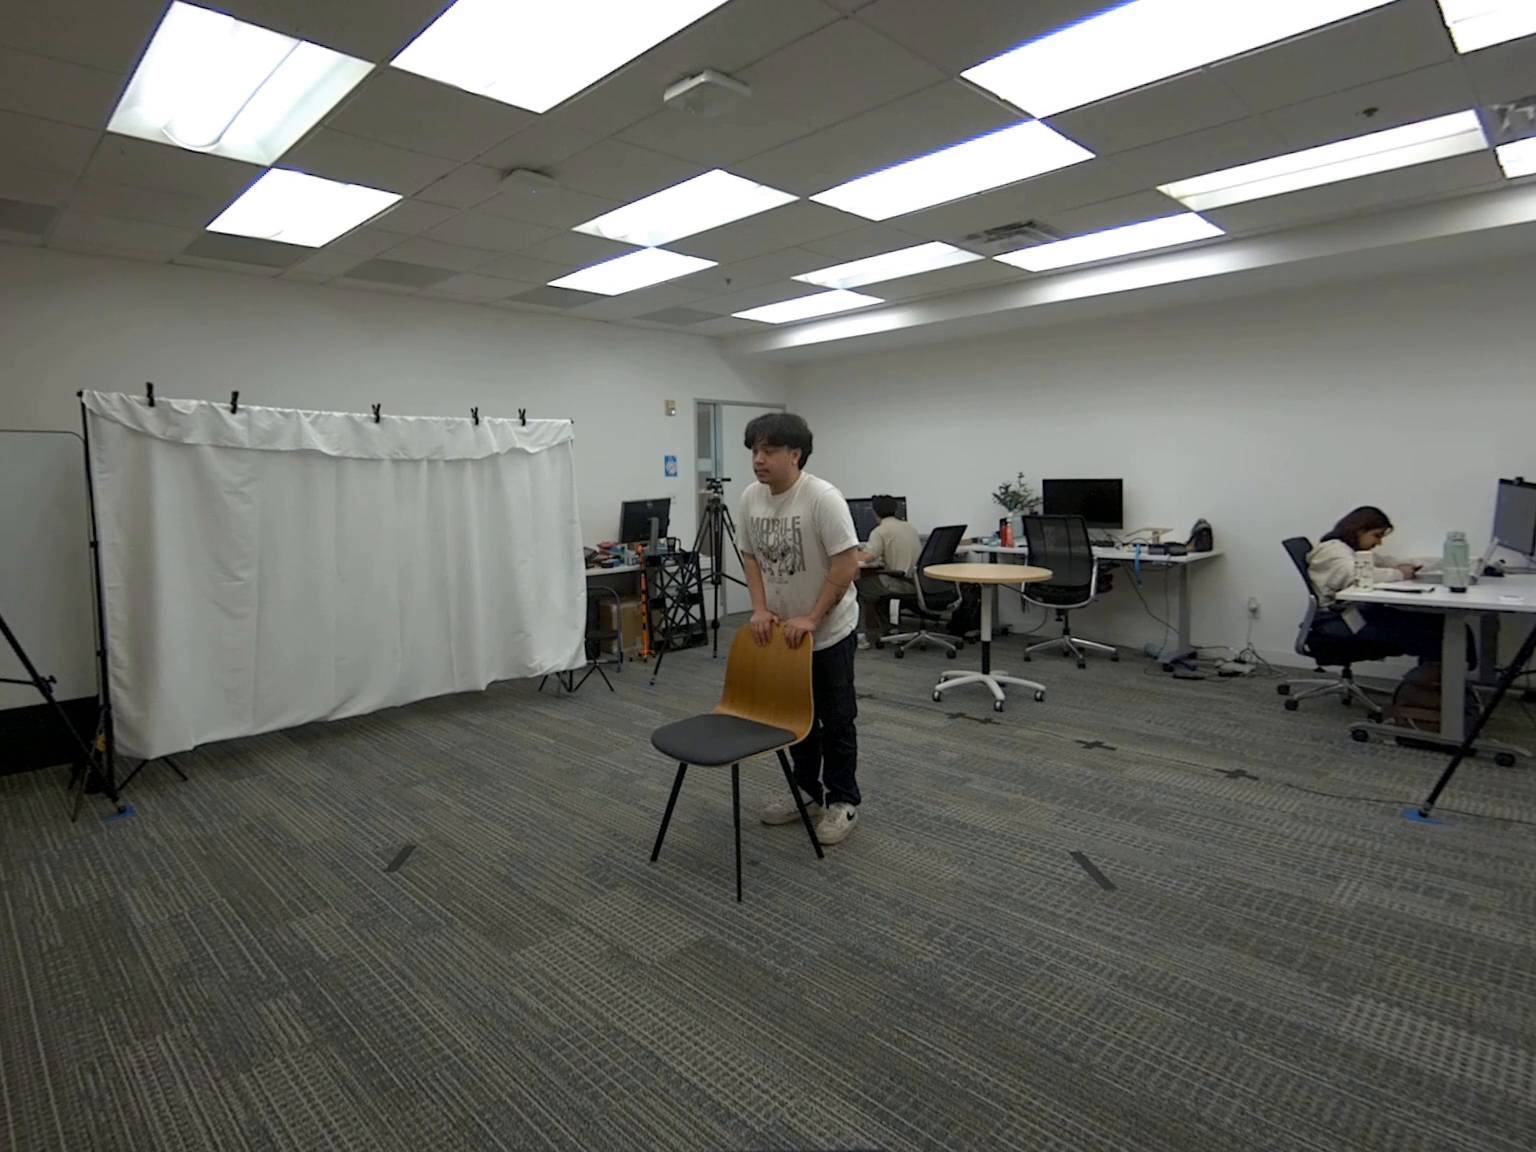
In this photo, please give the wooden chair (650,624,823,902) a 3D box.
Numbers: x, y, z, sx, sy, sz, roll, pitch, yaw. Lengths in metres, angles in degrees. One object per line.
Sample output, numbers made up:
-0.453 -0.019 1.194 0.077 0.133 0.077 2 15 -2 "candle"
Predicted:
-0.123 0.620 3.093 0.493 0.877 0.508 4 2 43 "wooden chair"
